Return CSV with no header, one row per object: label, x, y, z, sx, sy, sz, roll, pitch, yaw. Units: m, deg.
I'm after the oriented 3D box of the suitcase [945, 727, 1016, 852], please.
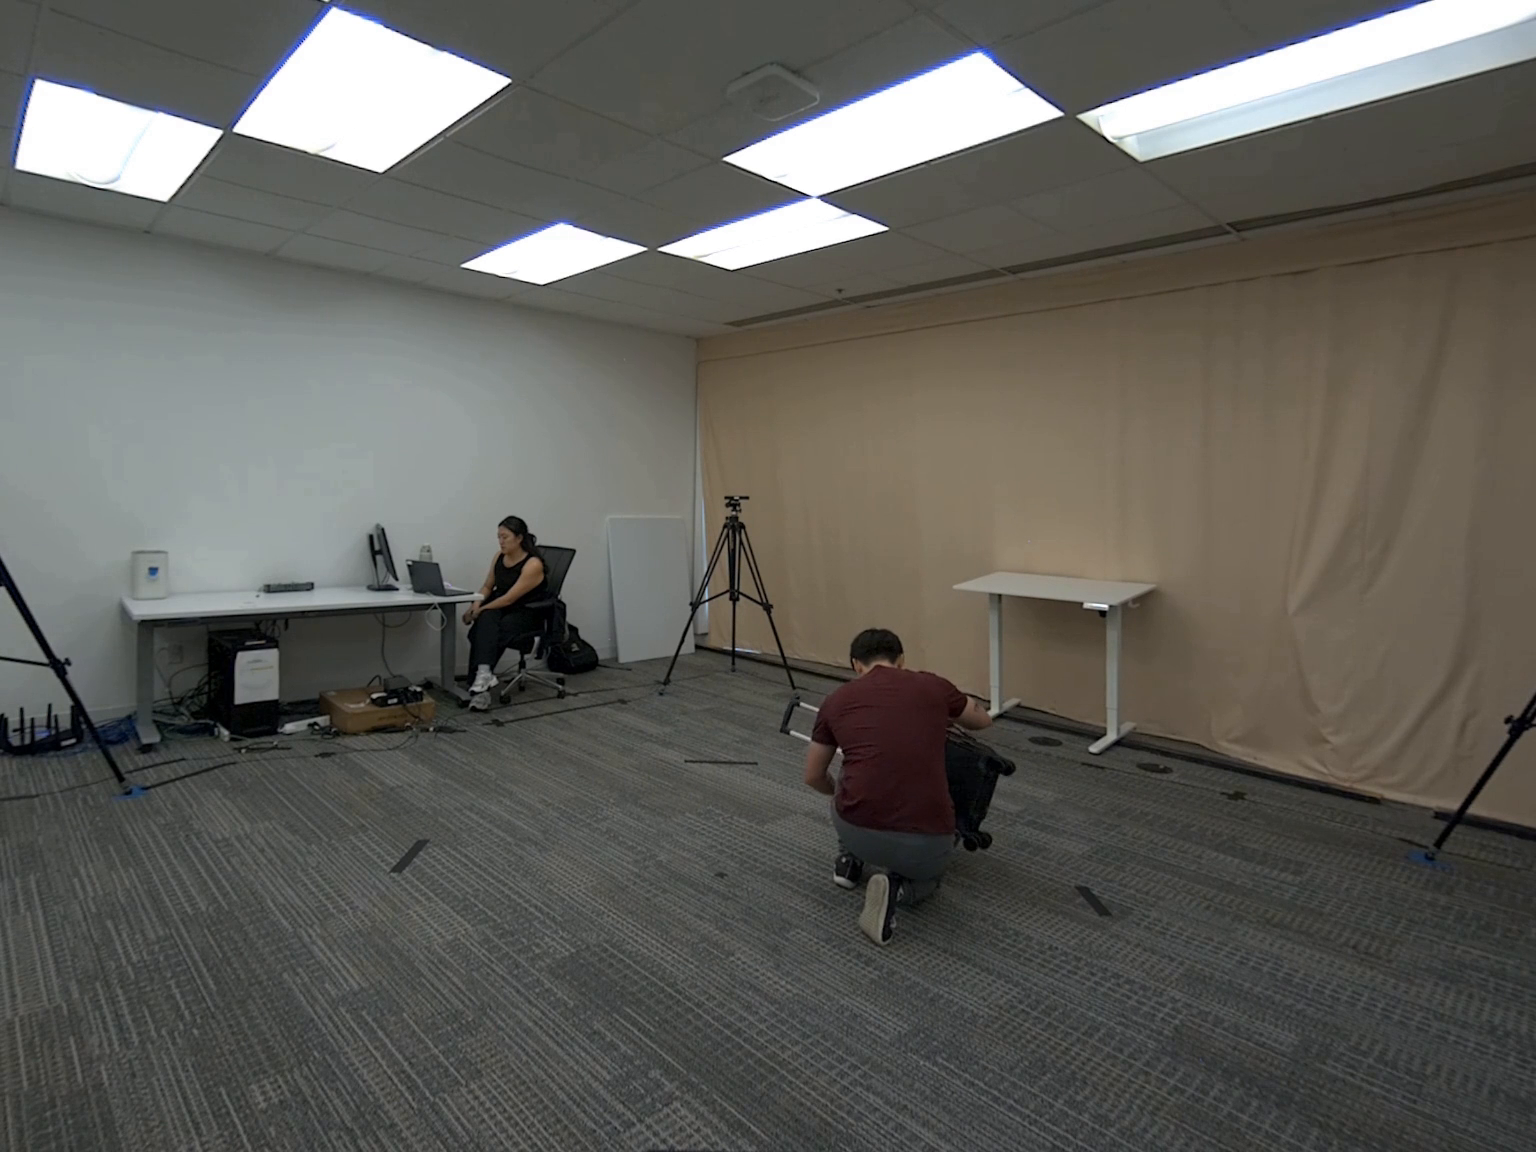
suitcase,0.453,0.715,3.396,1.004,0.385,0.250,18,-7,30
